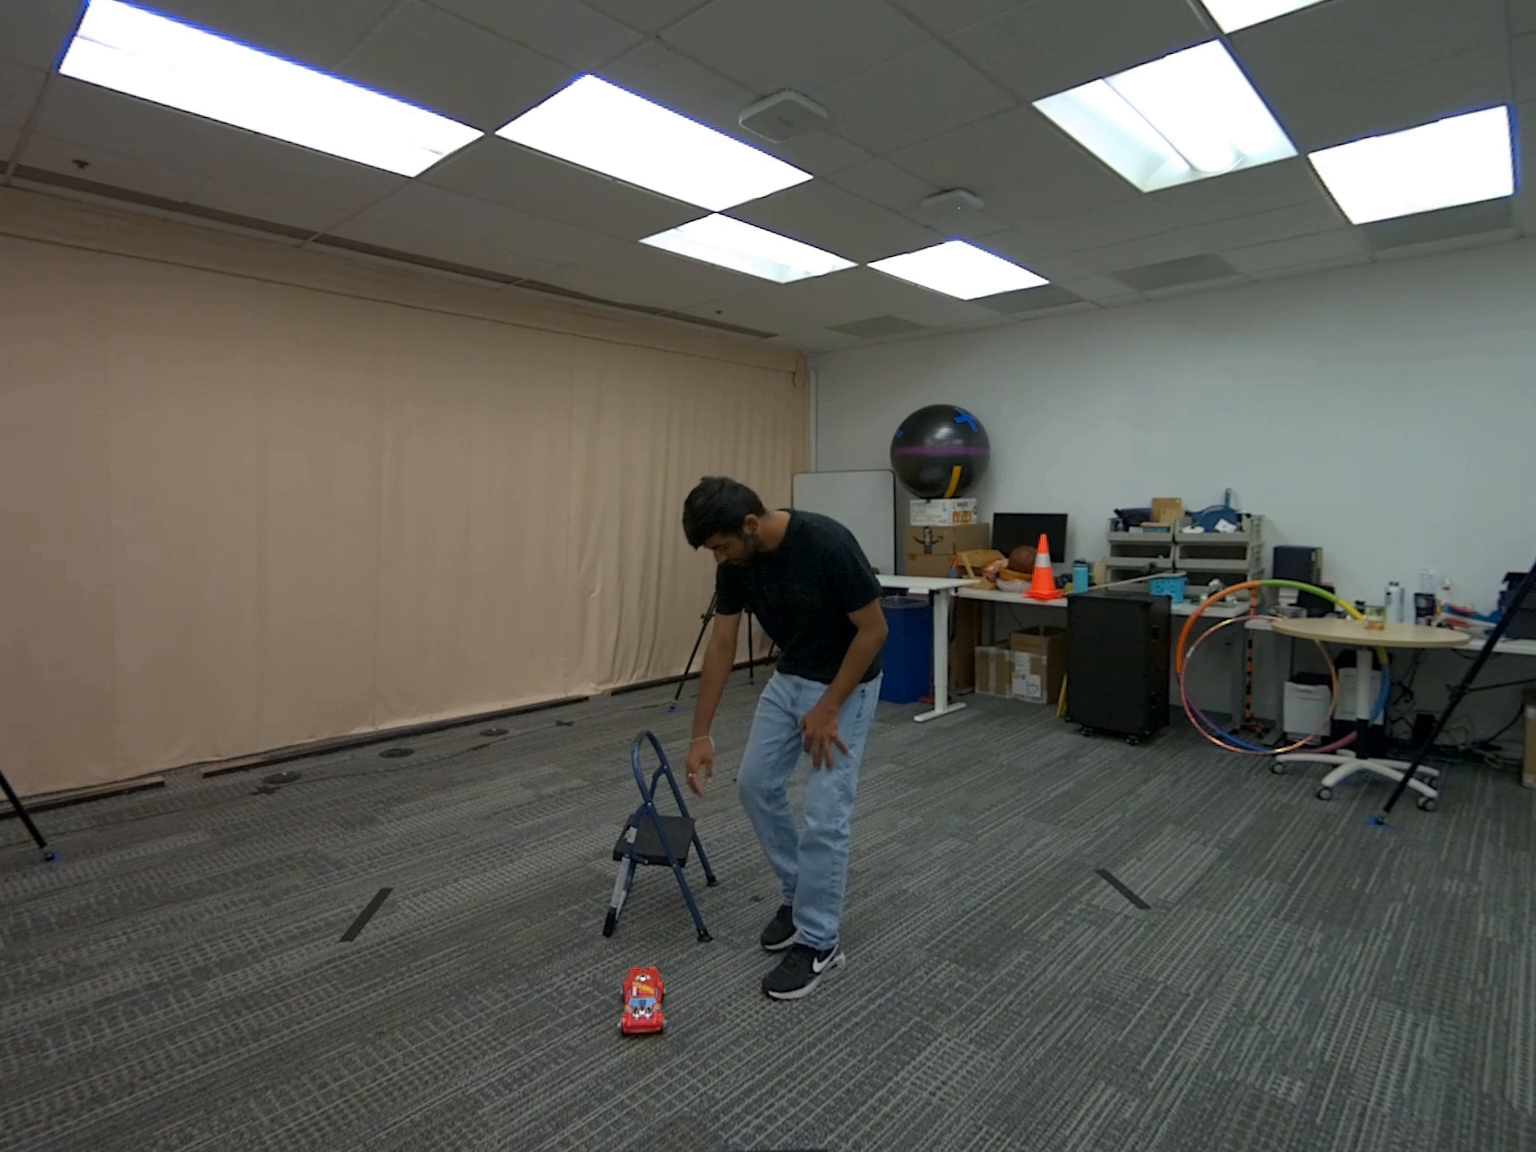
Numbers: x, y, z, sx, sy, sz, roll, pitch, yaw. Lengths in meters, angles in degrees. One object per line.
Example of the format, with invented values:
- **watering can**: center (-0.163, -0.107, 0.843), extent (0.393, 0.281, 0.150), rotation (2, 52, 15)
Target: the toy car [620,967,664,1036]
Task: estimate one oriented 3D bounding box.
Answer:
- **toy car**: center (-0.349, 1.167, 2.316), extent (0.129, 0.082, 0.258), rotation (-2, 15, -6)
